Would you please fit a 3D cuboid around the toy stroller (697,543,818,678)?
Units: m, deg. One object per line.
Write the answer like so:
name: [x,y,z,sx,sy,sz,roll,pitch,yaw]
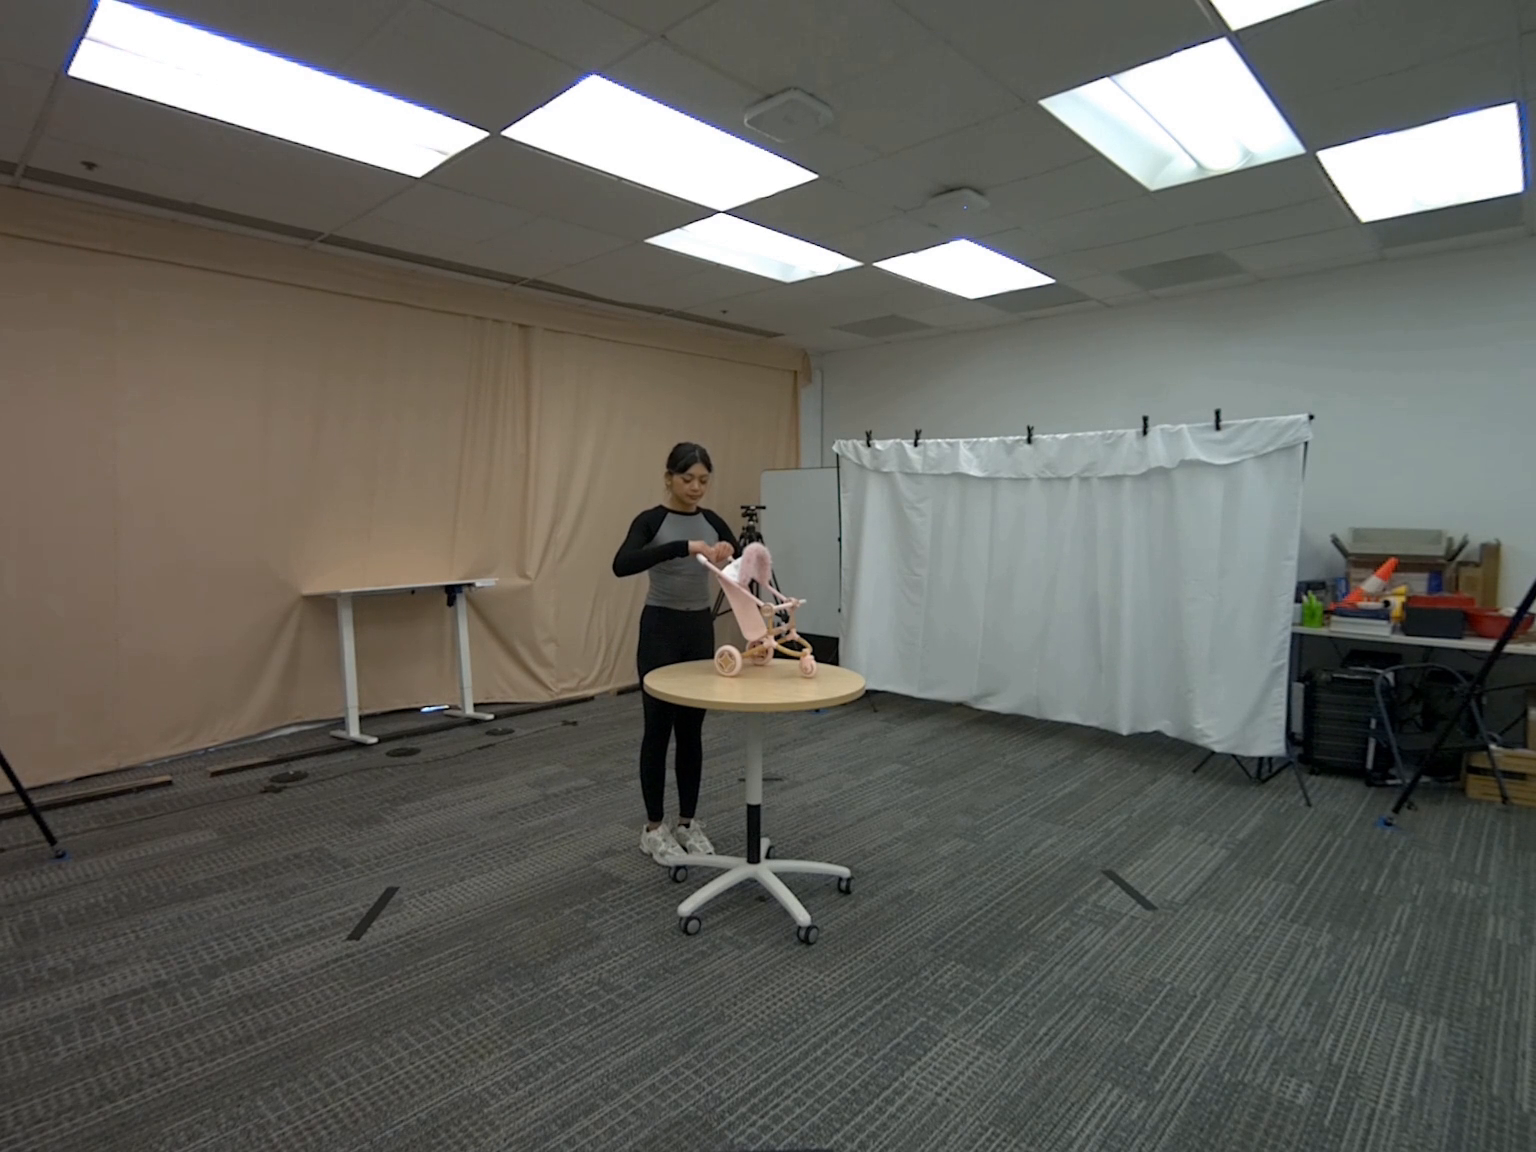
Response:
toy stroller: [-0.026,0.122,3.014,0.349,0.537,0.273,-15,-5,32]
